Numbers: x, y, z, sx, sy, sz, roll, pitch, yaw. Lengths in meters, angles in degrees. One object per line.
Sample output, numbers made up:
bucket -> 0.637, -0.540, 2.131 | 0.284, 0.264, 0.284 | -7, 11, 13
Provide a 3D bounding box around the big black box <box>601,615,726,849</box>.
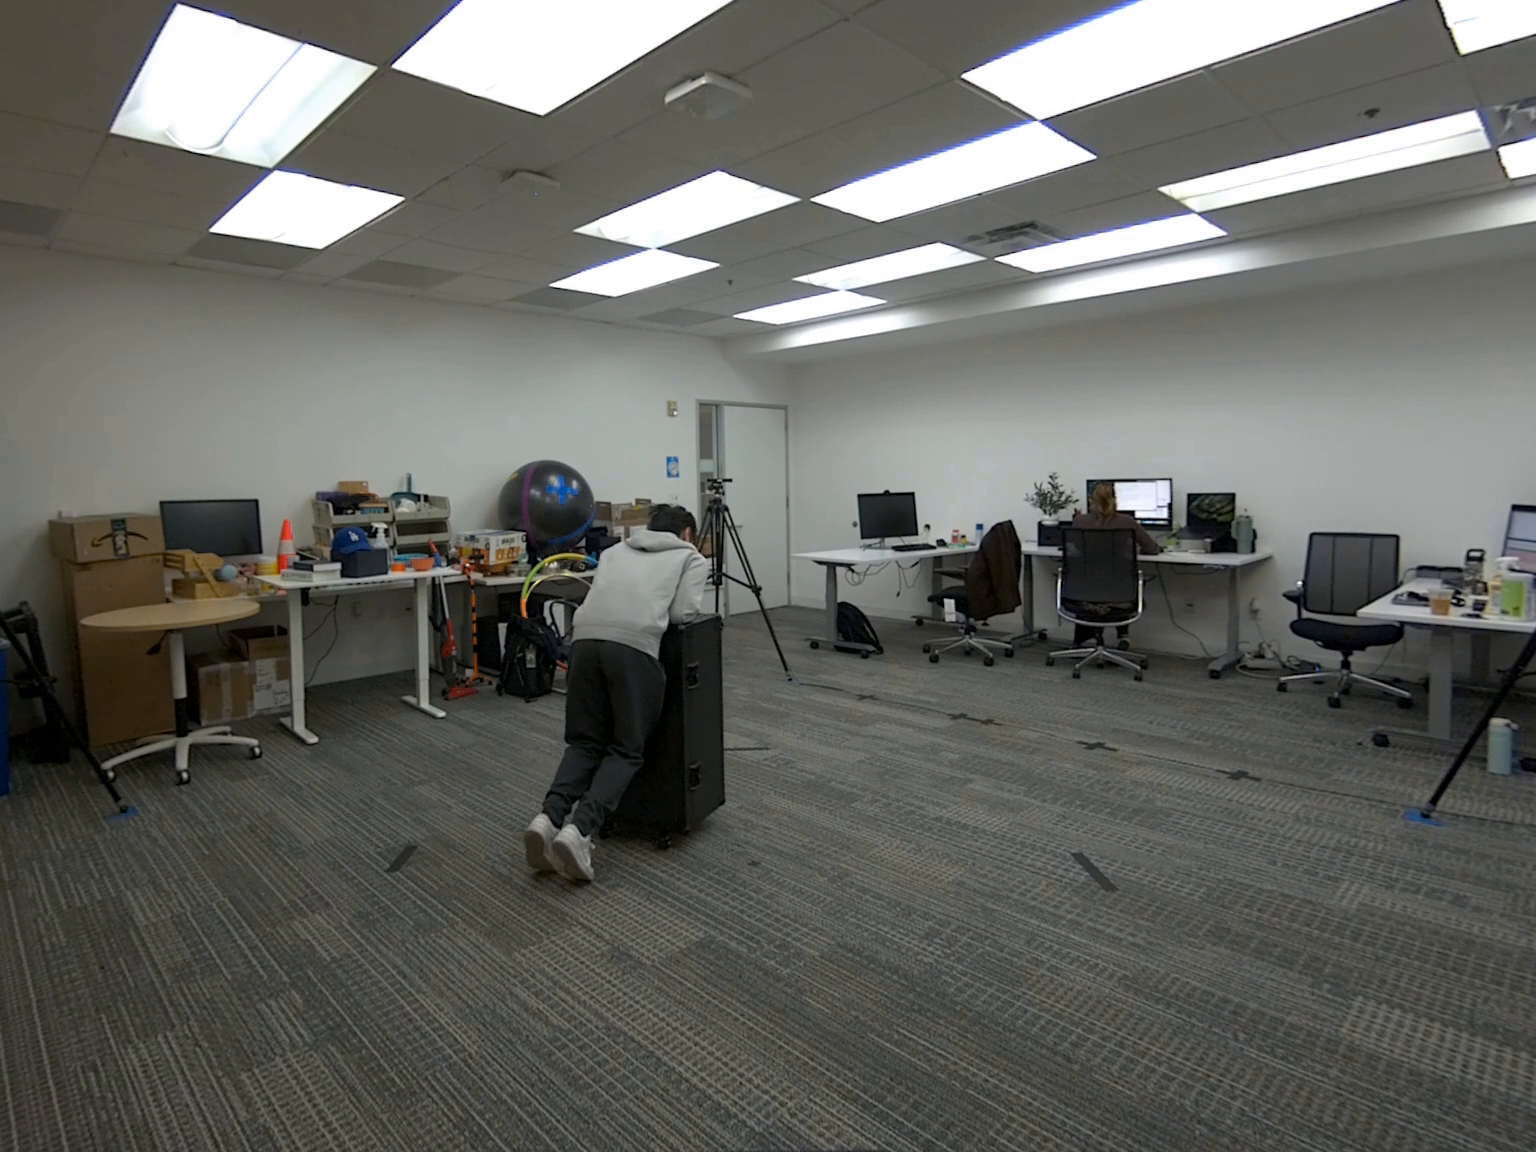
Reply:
big black box -> -0.465, 0.593, 3.449 | 0.533, 0.859, 0.388 | 1, 3, 24
